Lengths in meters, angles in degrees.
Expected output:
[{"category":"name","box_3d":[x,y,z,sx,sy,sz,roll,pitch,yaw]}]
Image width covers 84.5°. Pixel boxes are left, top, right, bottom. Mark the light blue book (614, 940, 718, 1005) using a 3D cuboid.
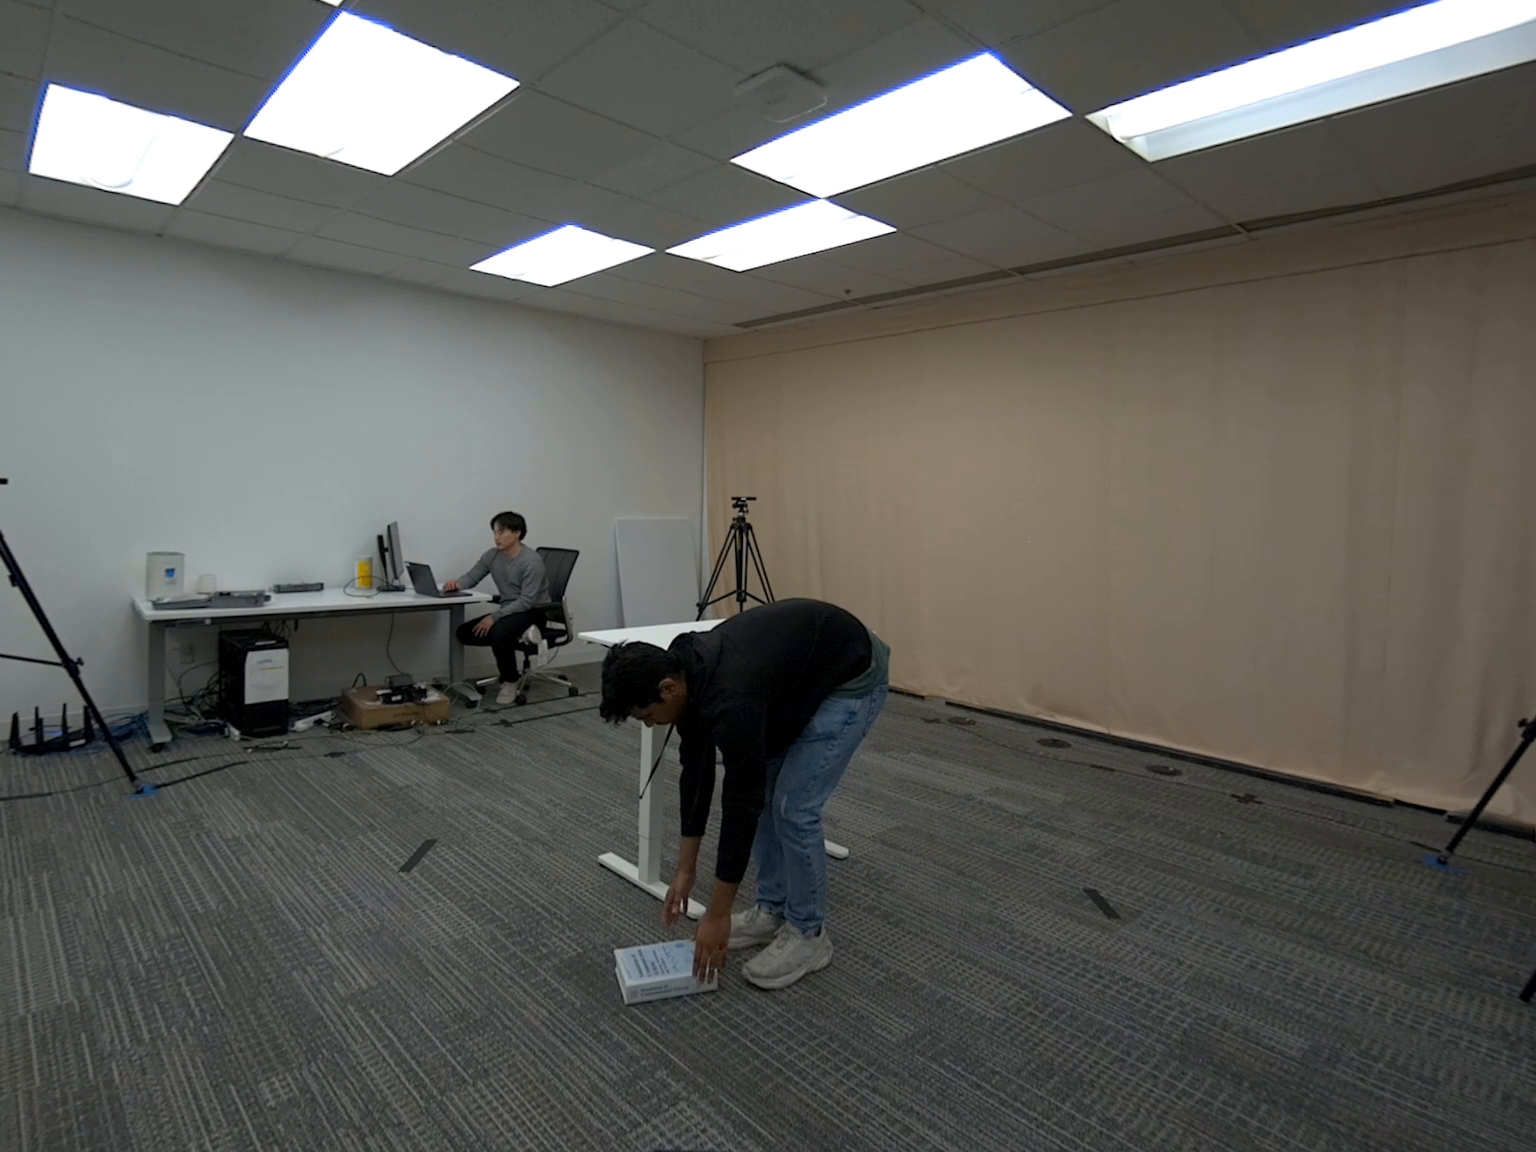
[{"category":"light blue book","box_3d":[-0.299,1.138,2.415,0.257,0.059,0.194,0,5,-18]}]
